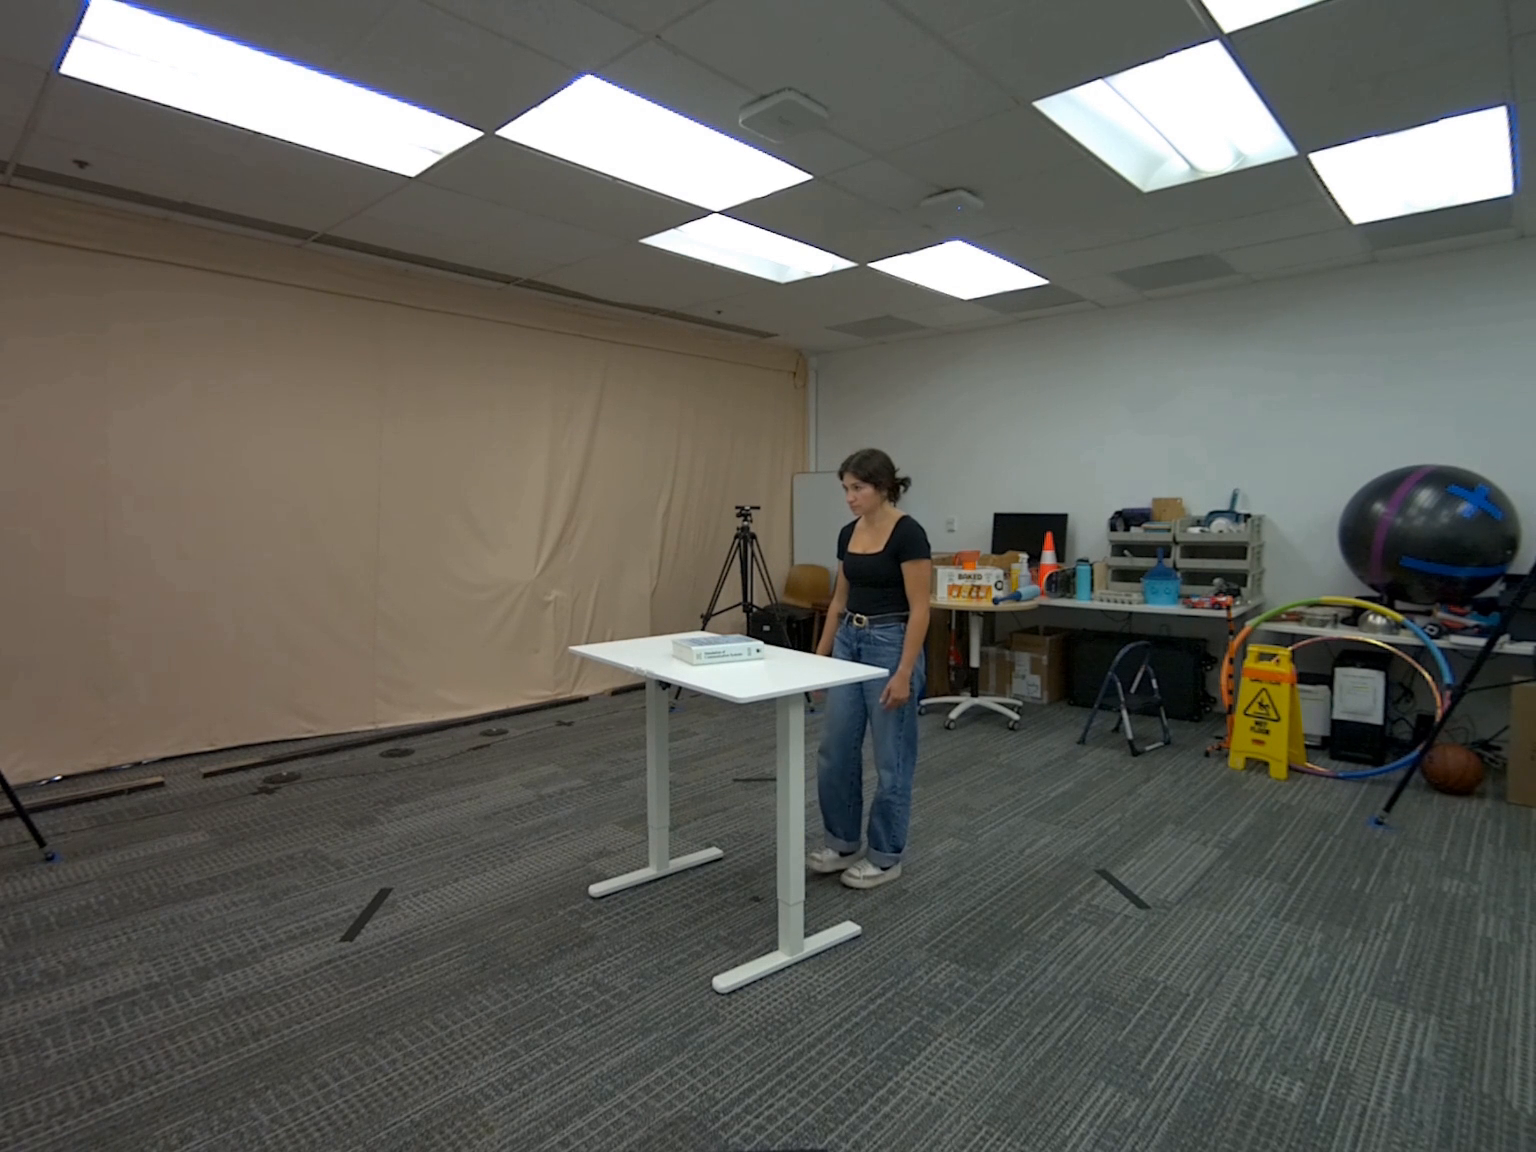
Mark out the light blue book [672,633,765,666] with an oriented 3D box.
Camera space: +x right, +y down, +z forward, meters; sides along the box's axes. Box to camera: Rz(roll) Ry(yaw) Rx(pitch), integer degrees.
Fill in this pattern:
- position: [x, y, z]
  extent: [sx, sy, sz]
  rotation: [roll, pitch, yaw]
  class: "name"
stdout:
- position: [-0.189, 0.247, 2.836]
  extent: [0.254, 0.059, 0.197]
  rotation: [-3, 6, -27]
  class: "light blue book"
